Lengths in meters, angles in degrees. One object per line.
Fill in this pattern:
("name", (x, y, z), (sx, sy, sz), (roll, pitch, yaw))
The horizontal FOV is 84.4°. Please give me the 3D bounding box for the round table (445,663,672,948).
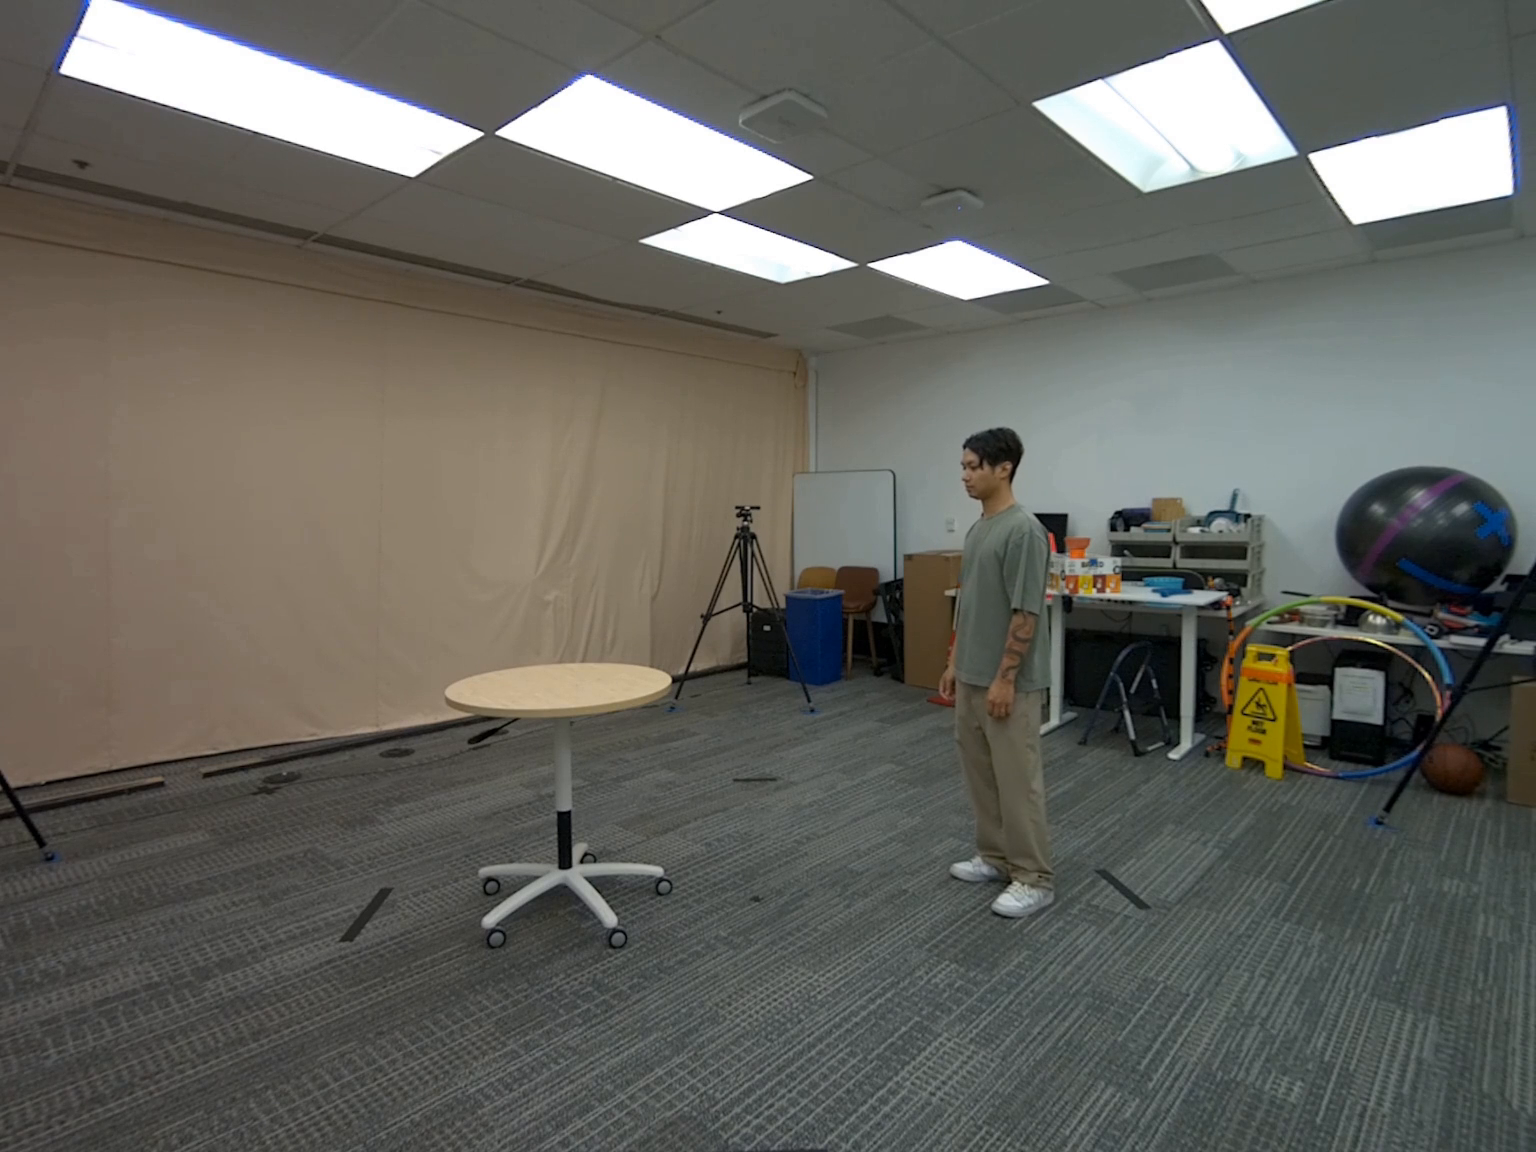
("round table", (-0.703, 0.764, 2.936), (0.784, 0.785, 0.788), (-1, 4, -2))
